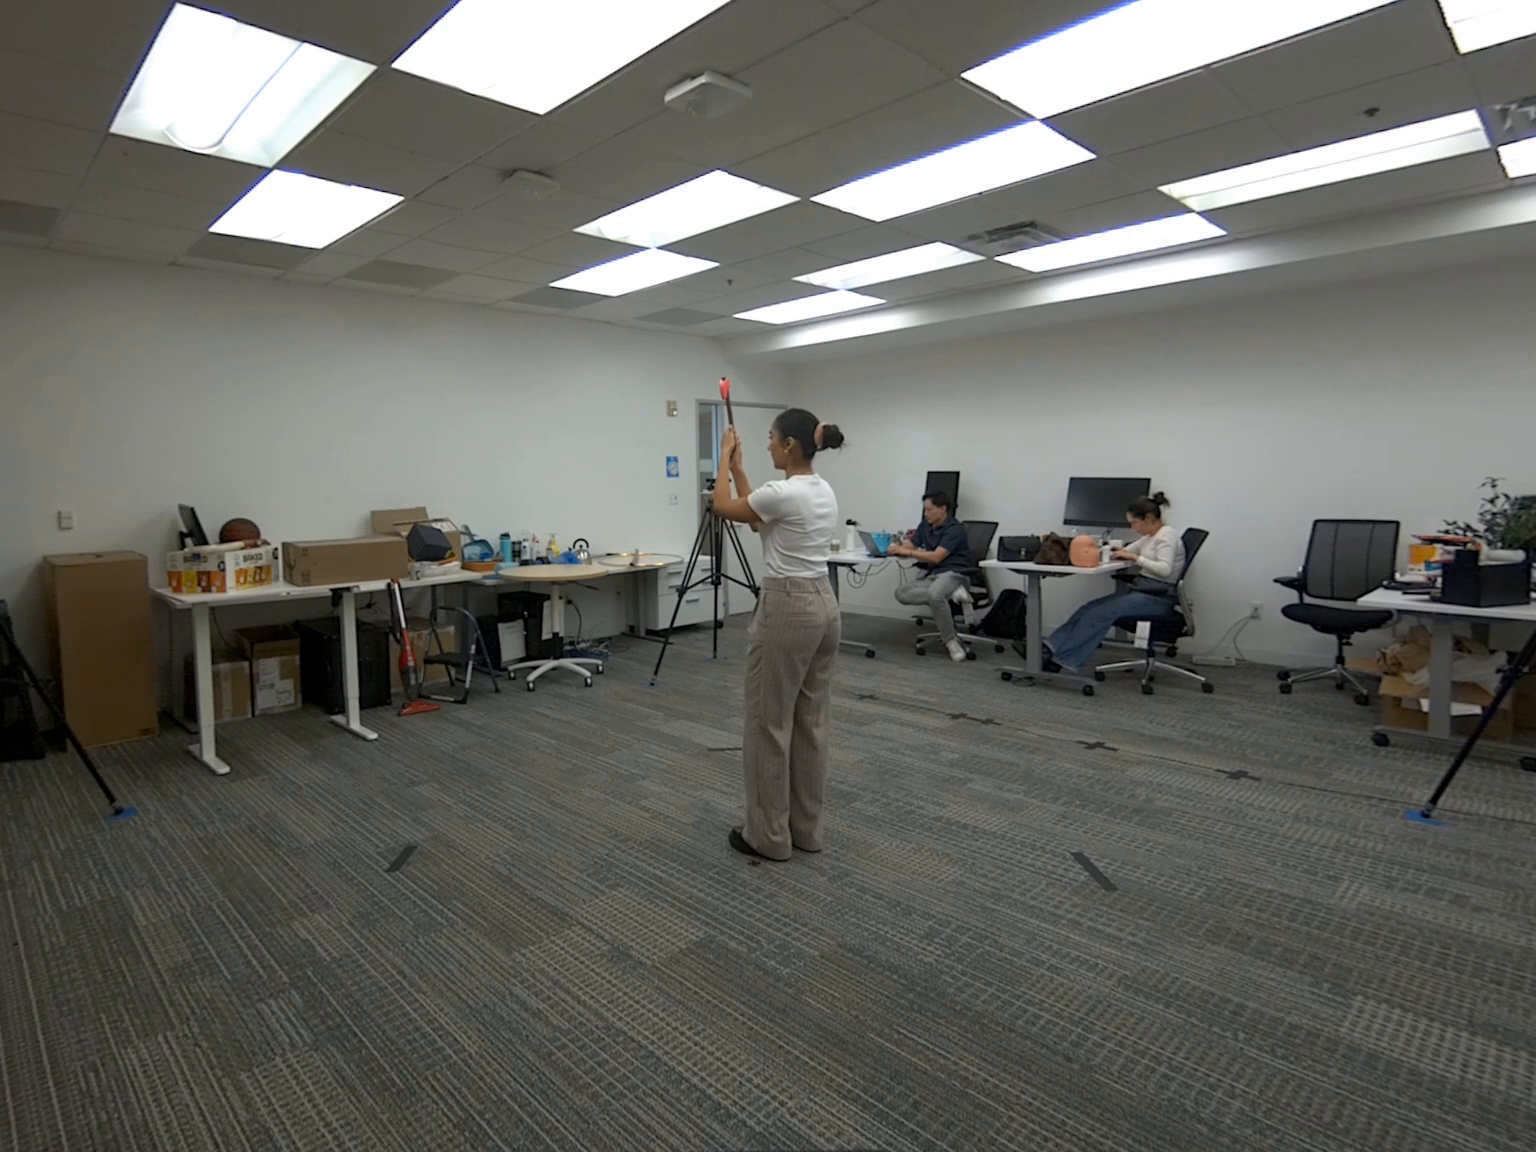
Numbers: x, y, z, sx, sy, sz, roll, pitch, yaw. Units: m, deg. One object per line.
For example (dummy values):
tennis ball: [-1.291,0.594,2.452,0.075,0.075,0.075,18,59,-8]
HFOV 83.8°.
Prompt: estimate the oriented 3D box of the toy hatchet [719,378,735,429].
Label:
toy hatchet: [-0.155,-0.646,3.325,0.030,0.270,0.130,-6,0,8]
